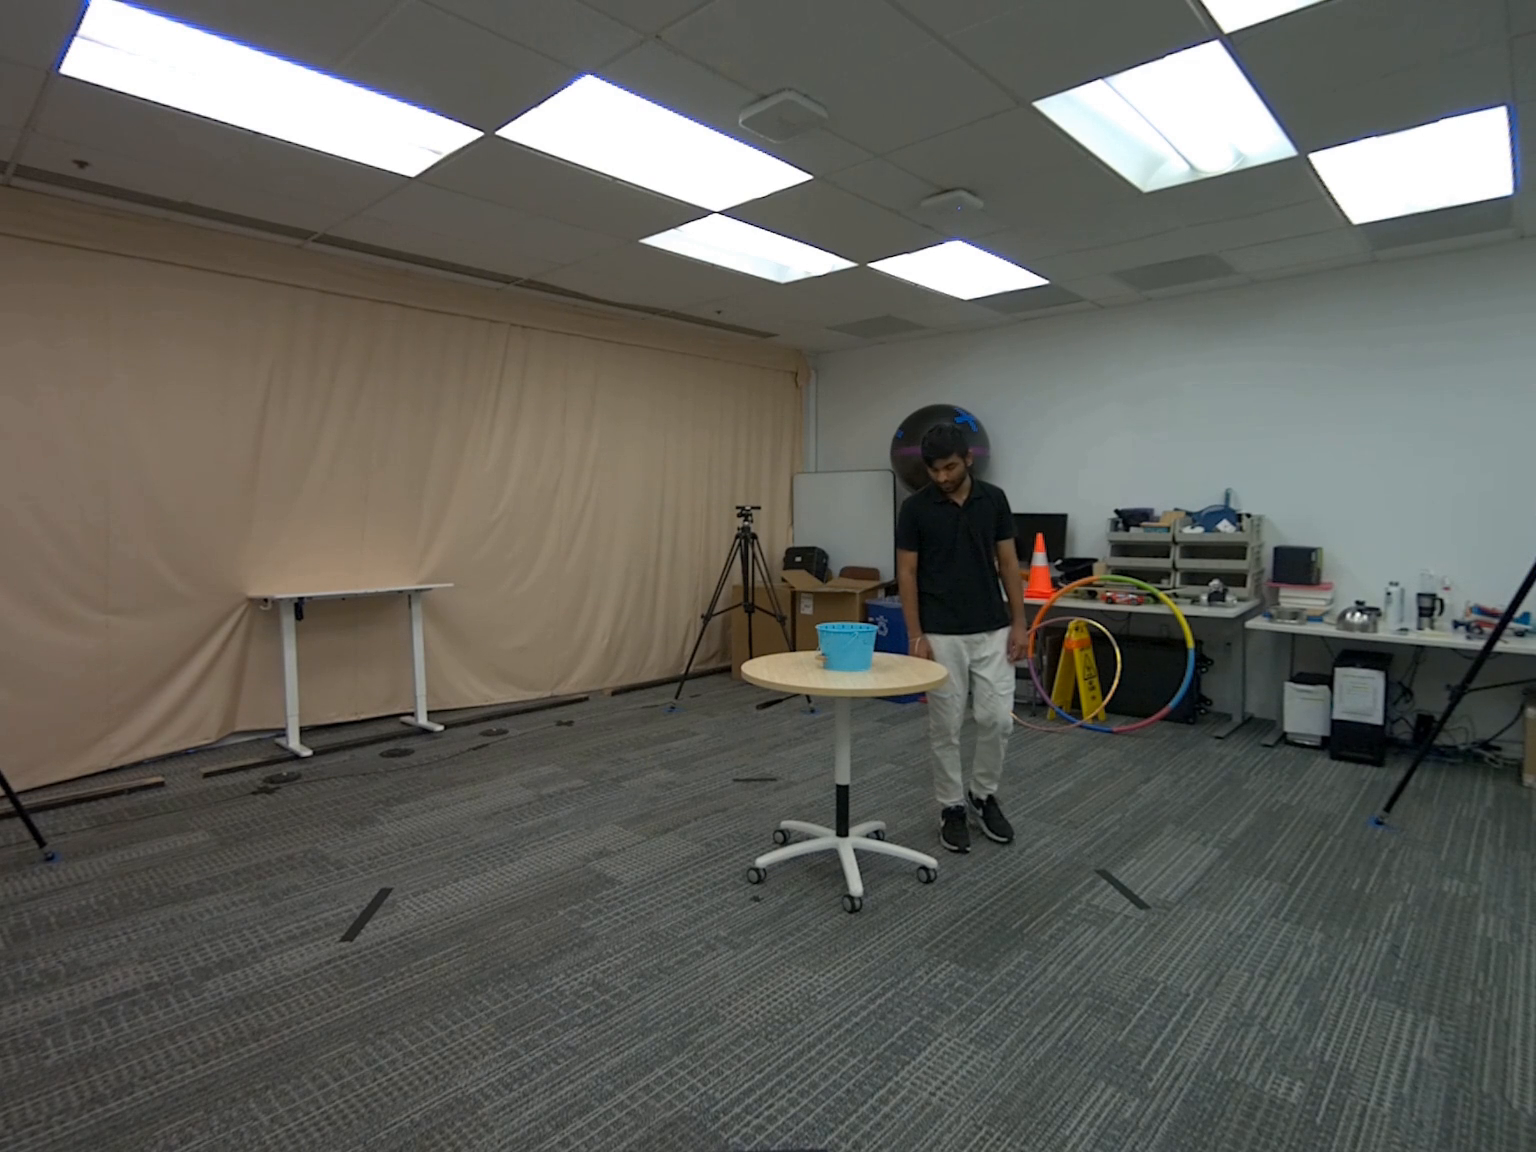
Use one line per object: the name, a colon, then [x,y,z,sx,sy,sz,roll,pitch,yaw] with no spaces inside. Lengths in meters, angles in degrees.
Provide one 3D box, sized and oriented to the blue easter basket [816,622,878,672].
blue easter basket: [0.305,0.272,3.186,0.243,0.156,0.244,1,2,-2]
